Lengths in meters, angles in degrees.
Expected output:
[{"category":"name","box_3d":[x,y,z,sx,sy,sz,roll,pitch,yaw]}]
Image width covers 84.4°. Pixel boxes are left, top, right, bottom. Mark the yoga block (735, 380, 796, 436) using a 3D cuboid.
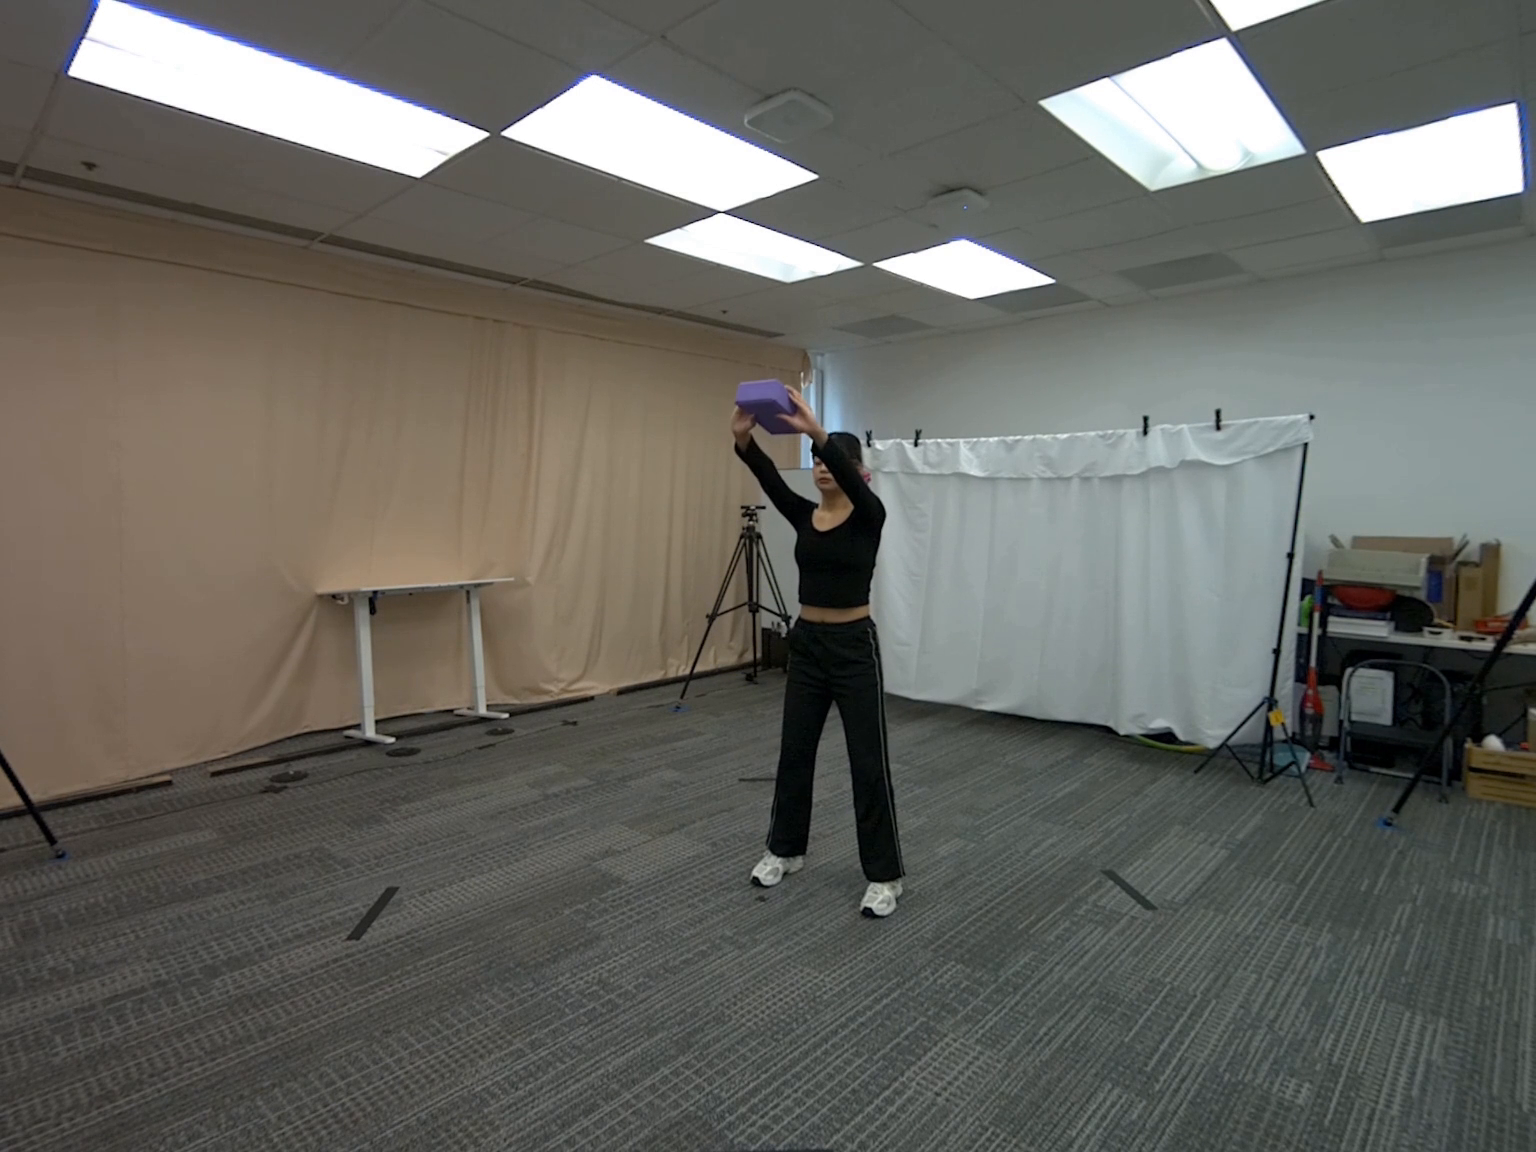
[{"category":"yoga block","box_3d":[0.022,-0.516,2.605,0.154,0.077,0.221,4,-16,34]}]
